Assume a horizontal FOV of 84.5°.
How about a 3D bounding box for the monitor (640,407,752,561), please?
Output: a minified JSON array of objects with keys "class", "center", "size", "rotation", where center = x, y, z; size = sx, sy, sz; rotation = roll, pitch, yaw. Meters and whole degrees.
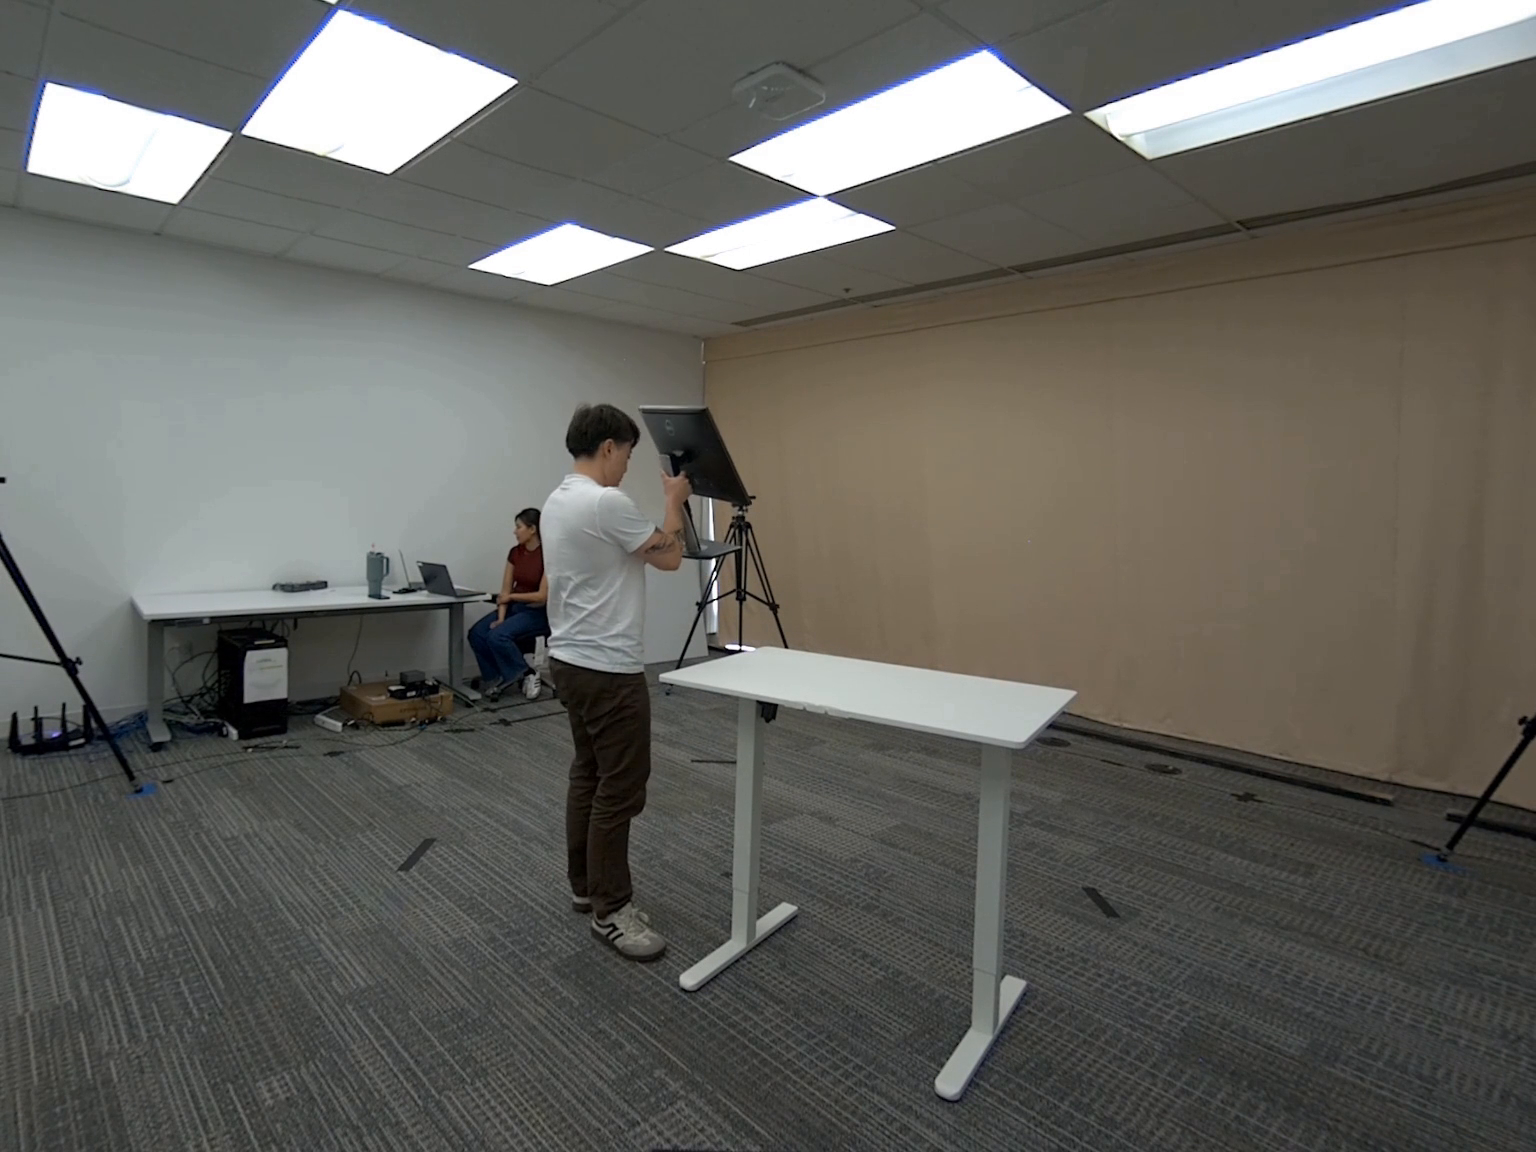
[{"class":"monitor","center":[-0.277,-0.326,2.887],"size":[0.185,0.515,0.553],"rotation":[-20,19,-27]}]
